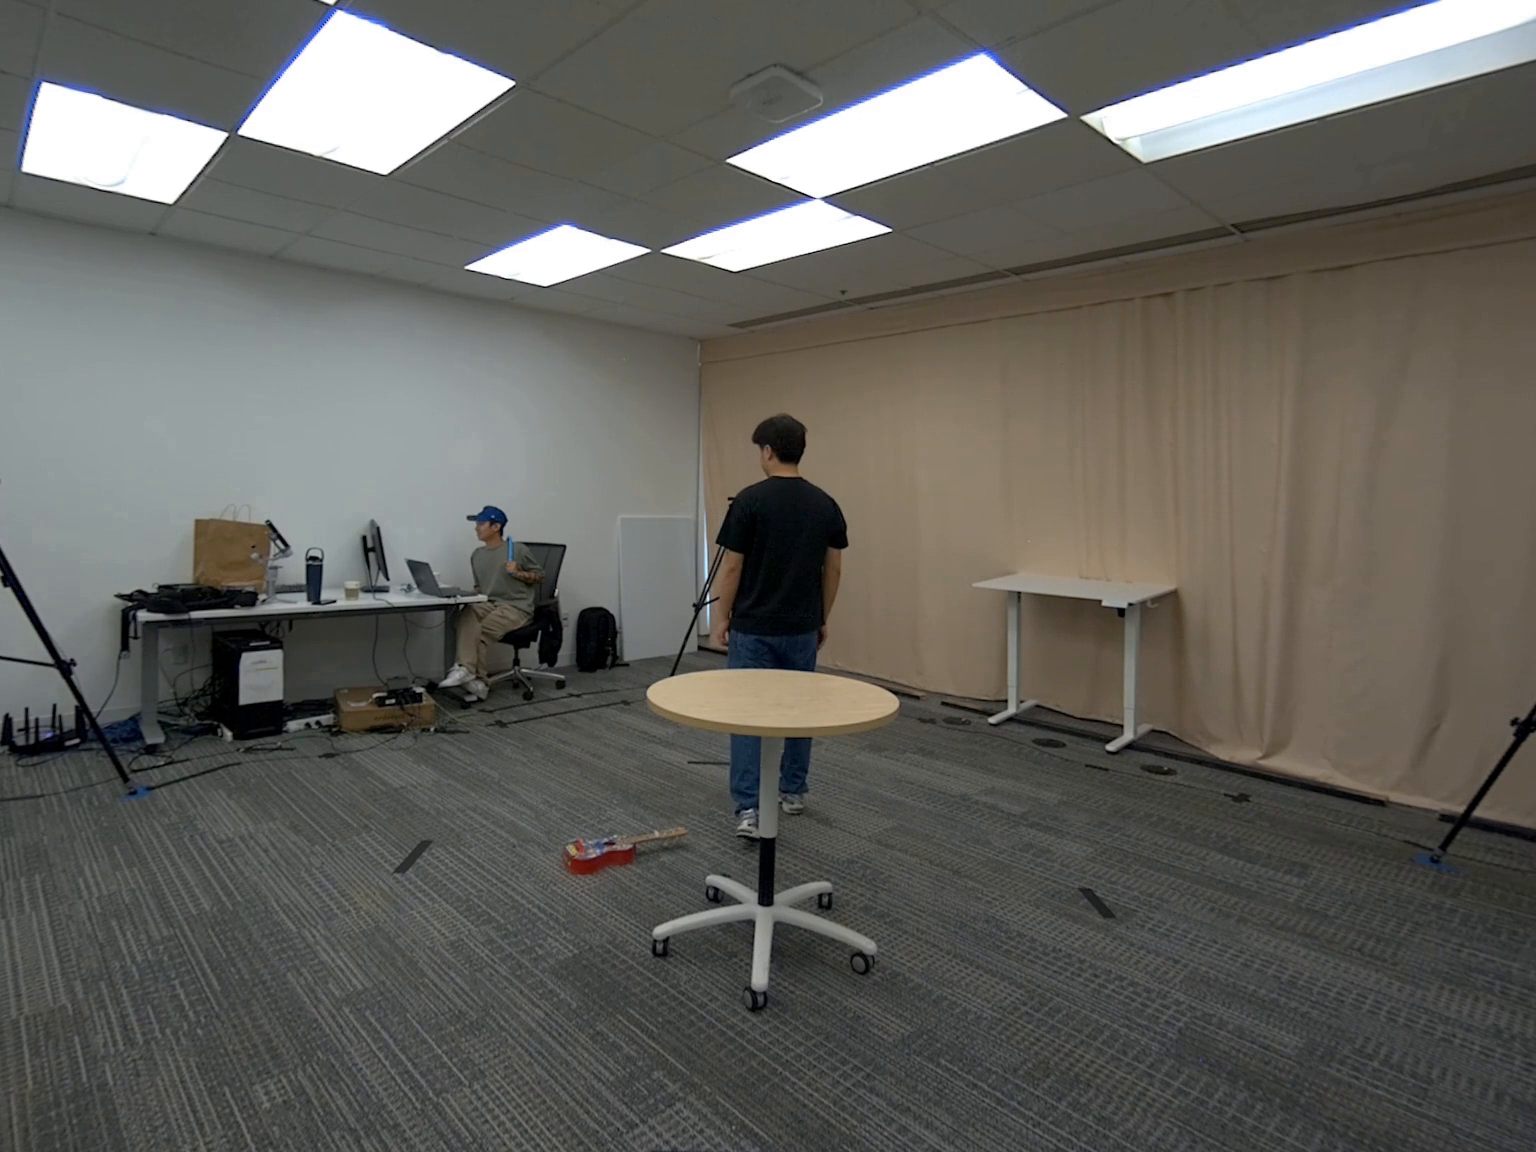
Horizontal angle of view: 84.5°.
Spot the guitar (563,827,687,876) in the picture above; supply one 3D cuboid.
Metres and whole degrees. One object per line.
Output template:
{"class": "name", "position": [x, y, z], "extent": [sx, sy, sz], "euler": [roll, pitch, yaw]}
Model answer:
{"class": "guitar", "position": [-0.541, 1.054, 3.232], "extent": [0.491, 0.070, 0.196], "euler": [-1, 5, -19]}
